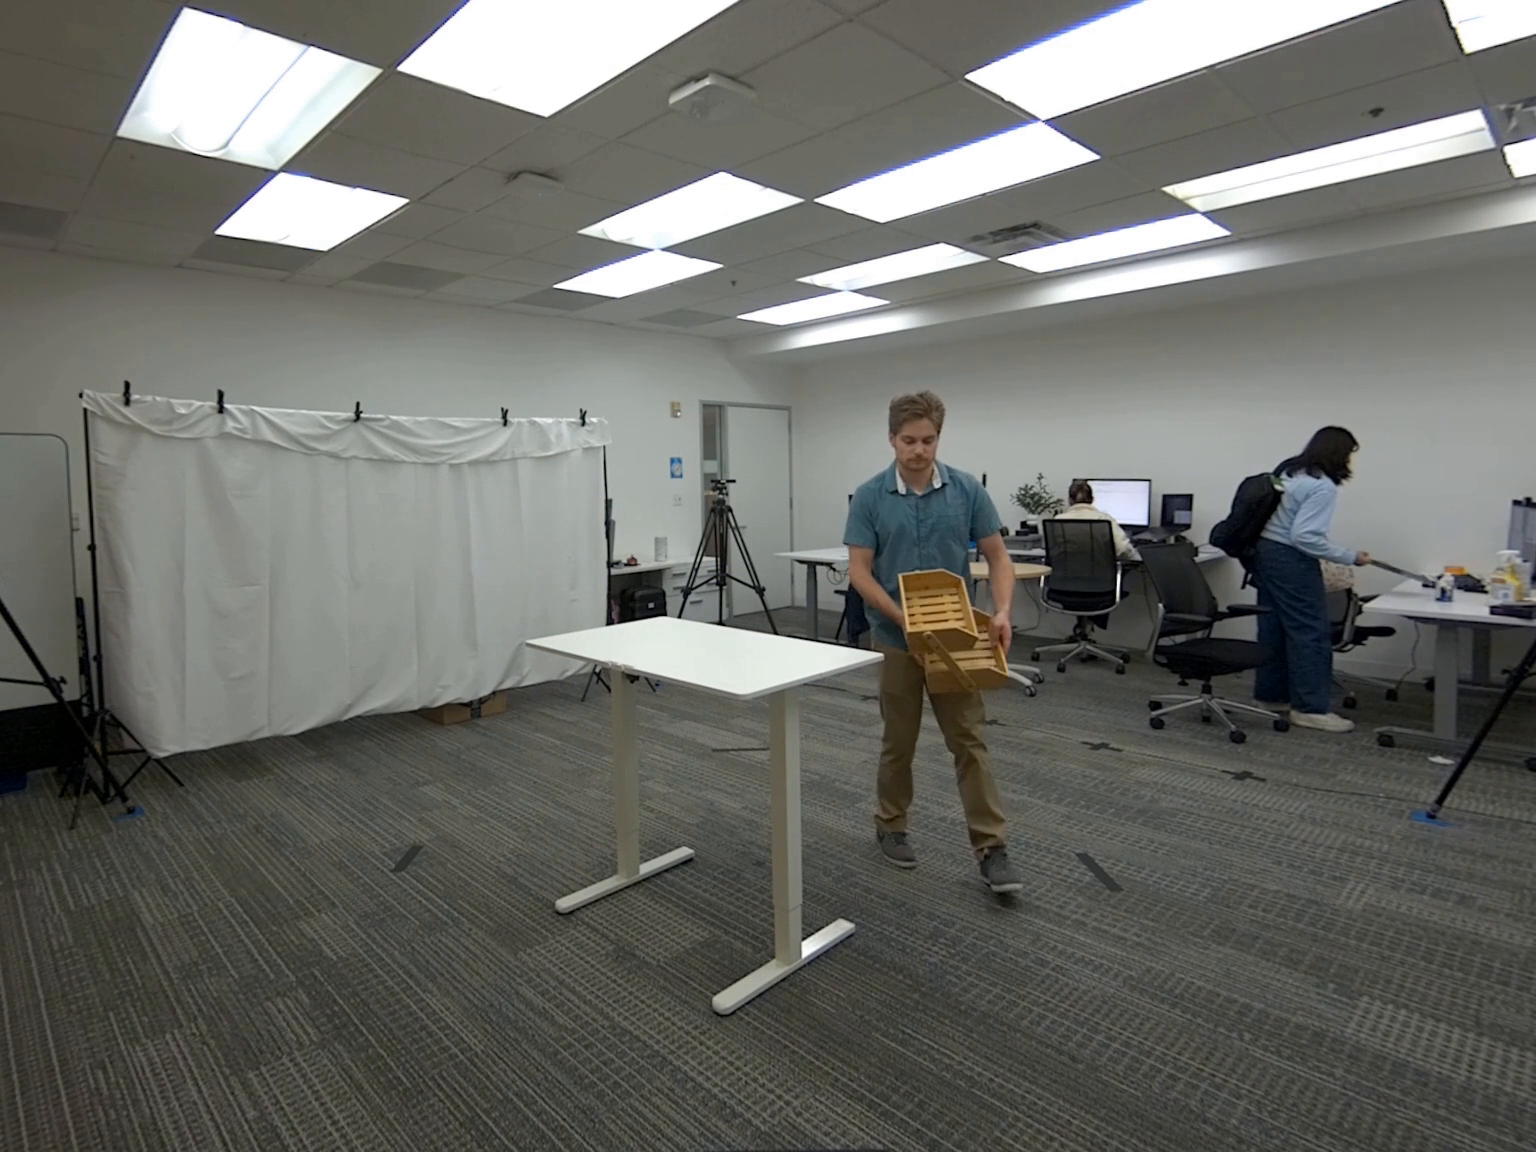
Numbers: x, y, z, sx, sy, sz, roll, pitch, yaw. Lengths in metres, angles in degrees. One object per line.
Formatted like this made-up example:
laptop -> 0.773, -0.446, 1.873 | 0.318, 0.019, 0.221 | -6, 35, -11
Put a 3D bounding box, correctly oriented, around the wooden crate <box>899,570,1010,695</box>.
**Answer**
wooden crate -> 0.597, 0.168, 2.729 | 0.305, 0.265, 0.331 | -6, 34, 10
